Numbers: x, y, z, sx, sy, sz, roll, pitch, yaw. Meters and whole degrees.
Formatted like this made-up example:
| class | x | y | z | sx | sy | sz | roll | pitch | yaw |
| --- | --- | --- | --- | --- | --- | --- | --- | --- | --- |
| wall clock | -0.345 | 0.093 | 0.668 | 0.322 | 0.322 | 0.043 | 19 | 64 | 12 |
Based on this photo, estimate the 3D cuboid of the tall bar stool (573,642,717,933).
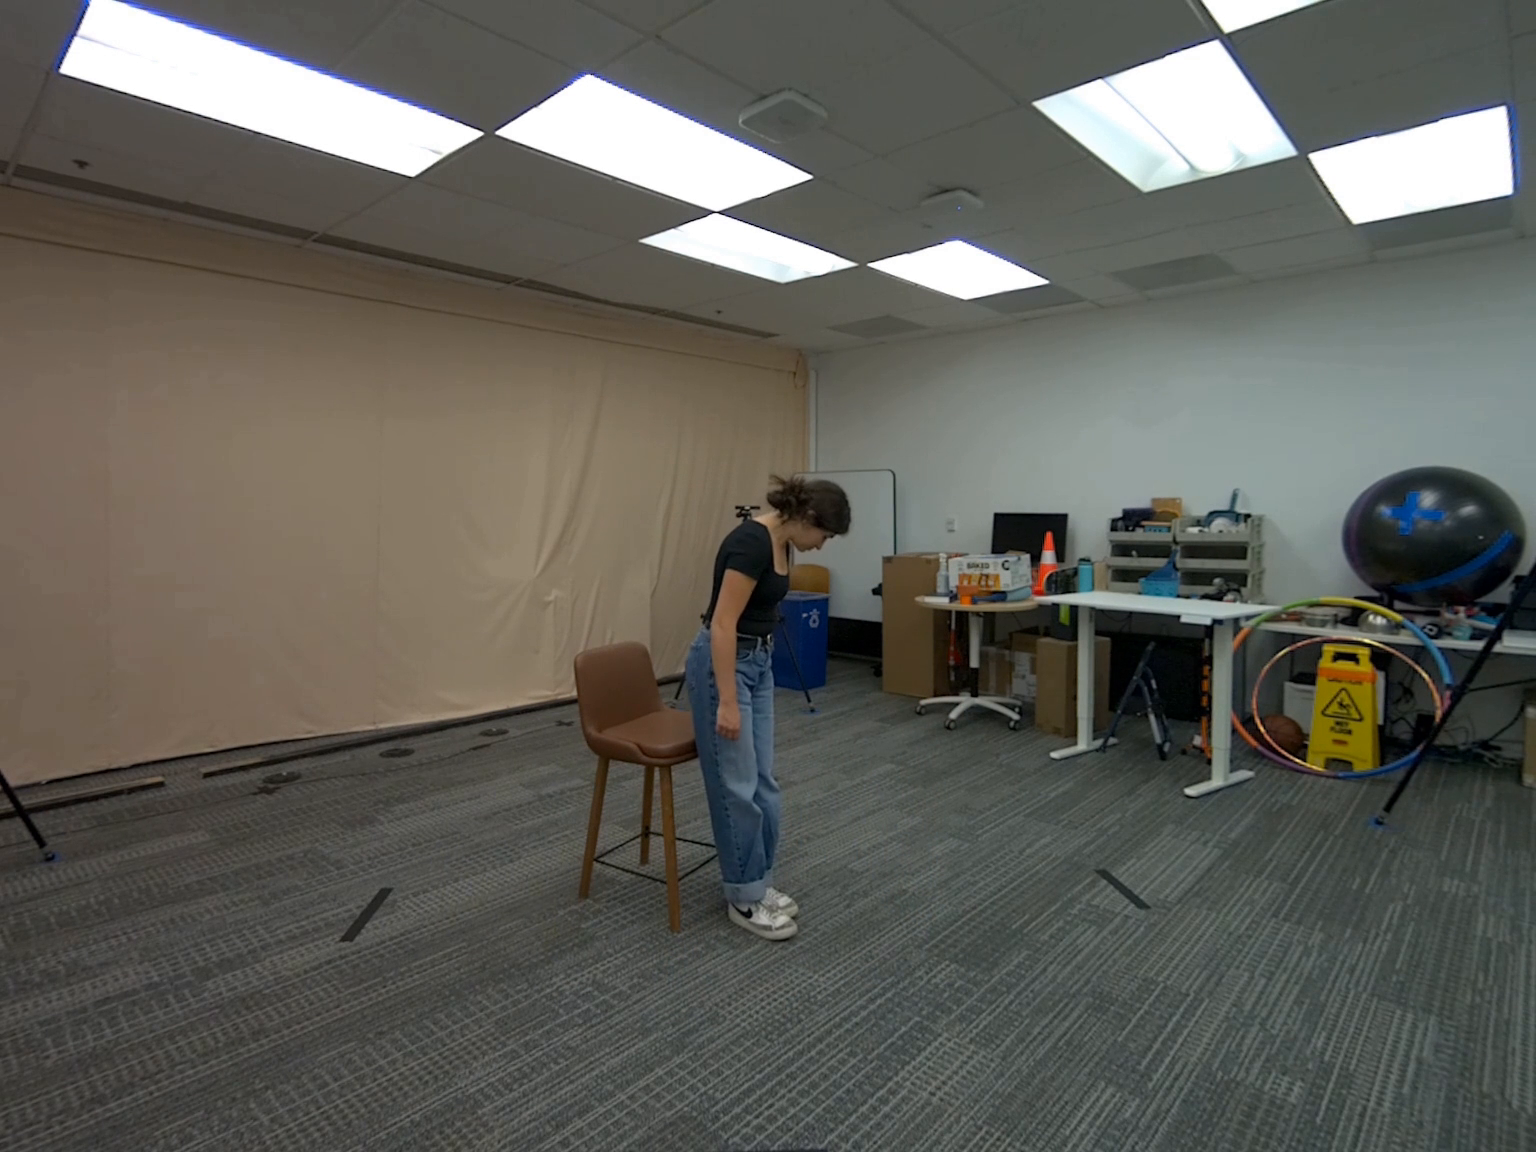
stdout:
| class | x | y | z | sx | sy | sz | roll | pitch | yaw |
| --- | --- | --- | --- | --- | --- | --- | --- | --- | --- |
| tall bar stool | -0.400 | 0.712 | 3.022 | 0.481 | 0.889 | 0.444 | -1 | 2 | 33 |
